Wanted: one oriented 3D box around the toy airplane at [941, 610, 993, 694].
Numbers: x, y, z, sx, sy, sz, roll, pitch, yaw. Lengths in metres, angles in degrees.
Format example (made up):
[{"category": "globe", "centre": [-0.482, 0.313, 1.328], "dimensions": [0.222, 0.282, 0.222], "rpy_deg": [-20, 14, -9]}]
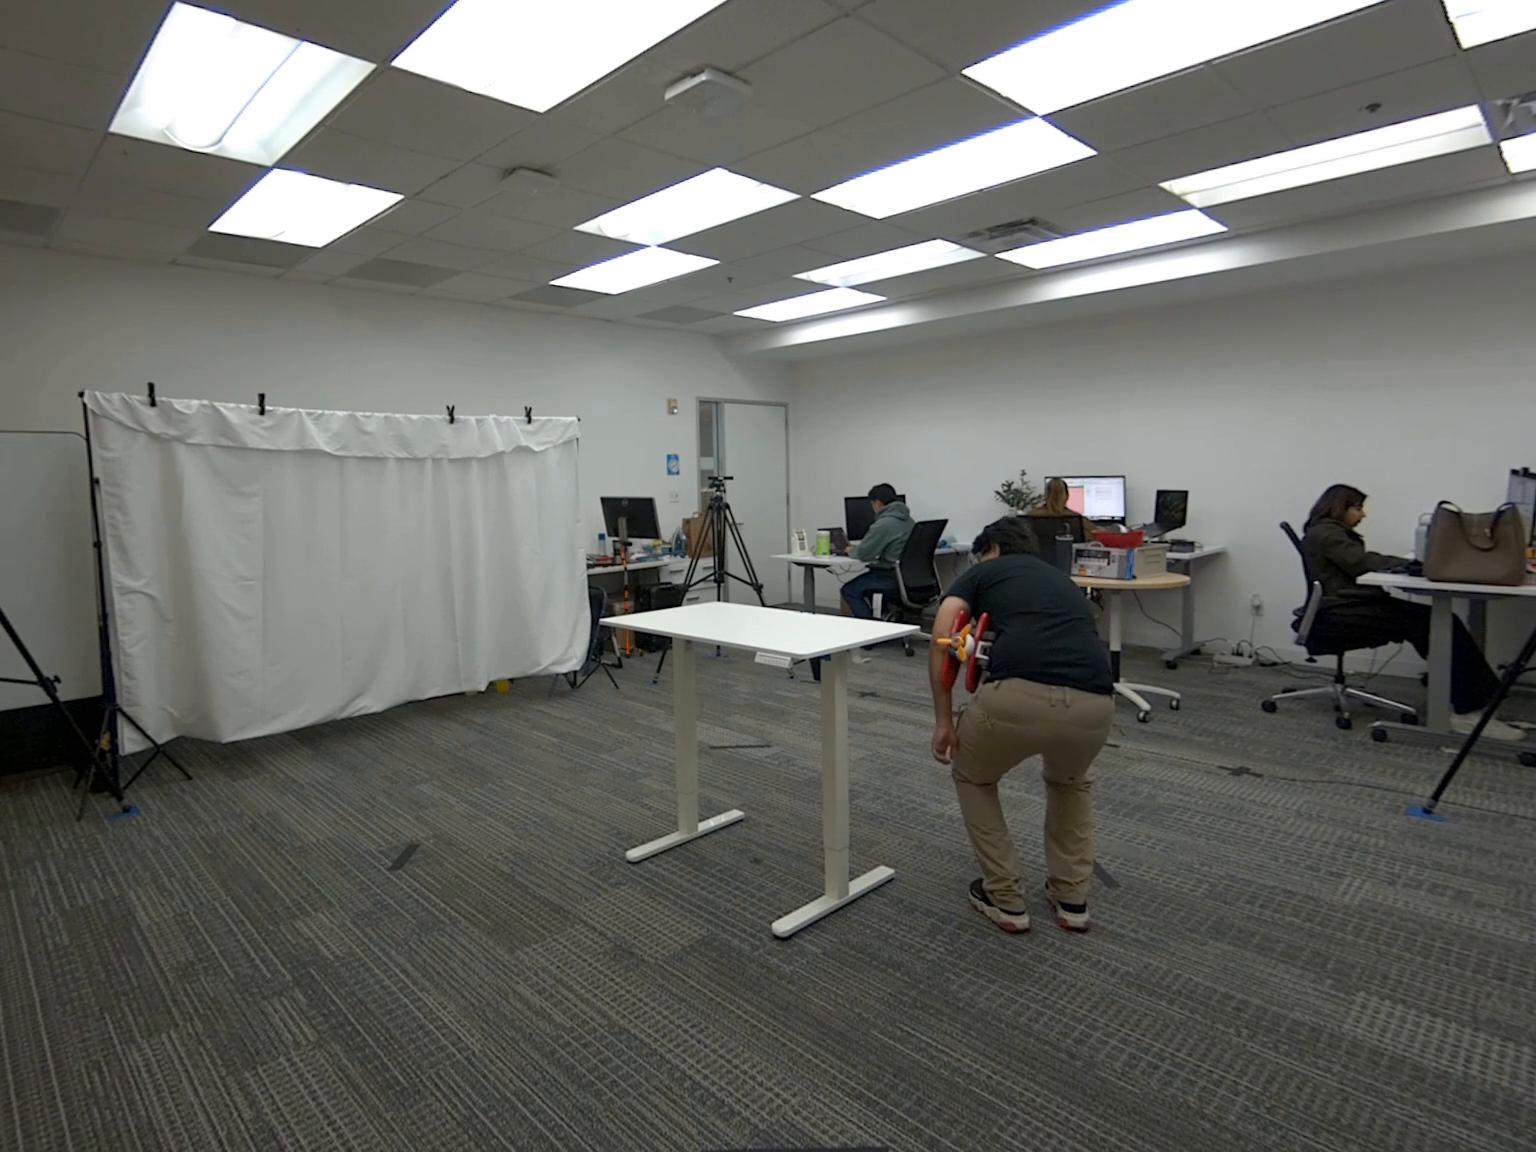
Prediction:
[{"category": "toy airplane", "centre": [0.646, 0.261, 2.707], "dimensions": [0.161, 0.251, 0.252], "rpy_deg": [10, 46, 28]}]
